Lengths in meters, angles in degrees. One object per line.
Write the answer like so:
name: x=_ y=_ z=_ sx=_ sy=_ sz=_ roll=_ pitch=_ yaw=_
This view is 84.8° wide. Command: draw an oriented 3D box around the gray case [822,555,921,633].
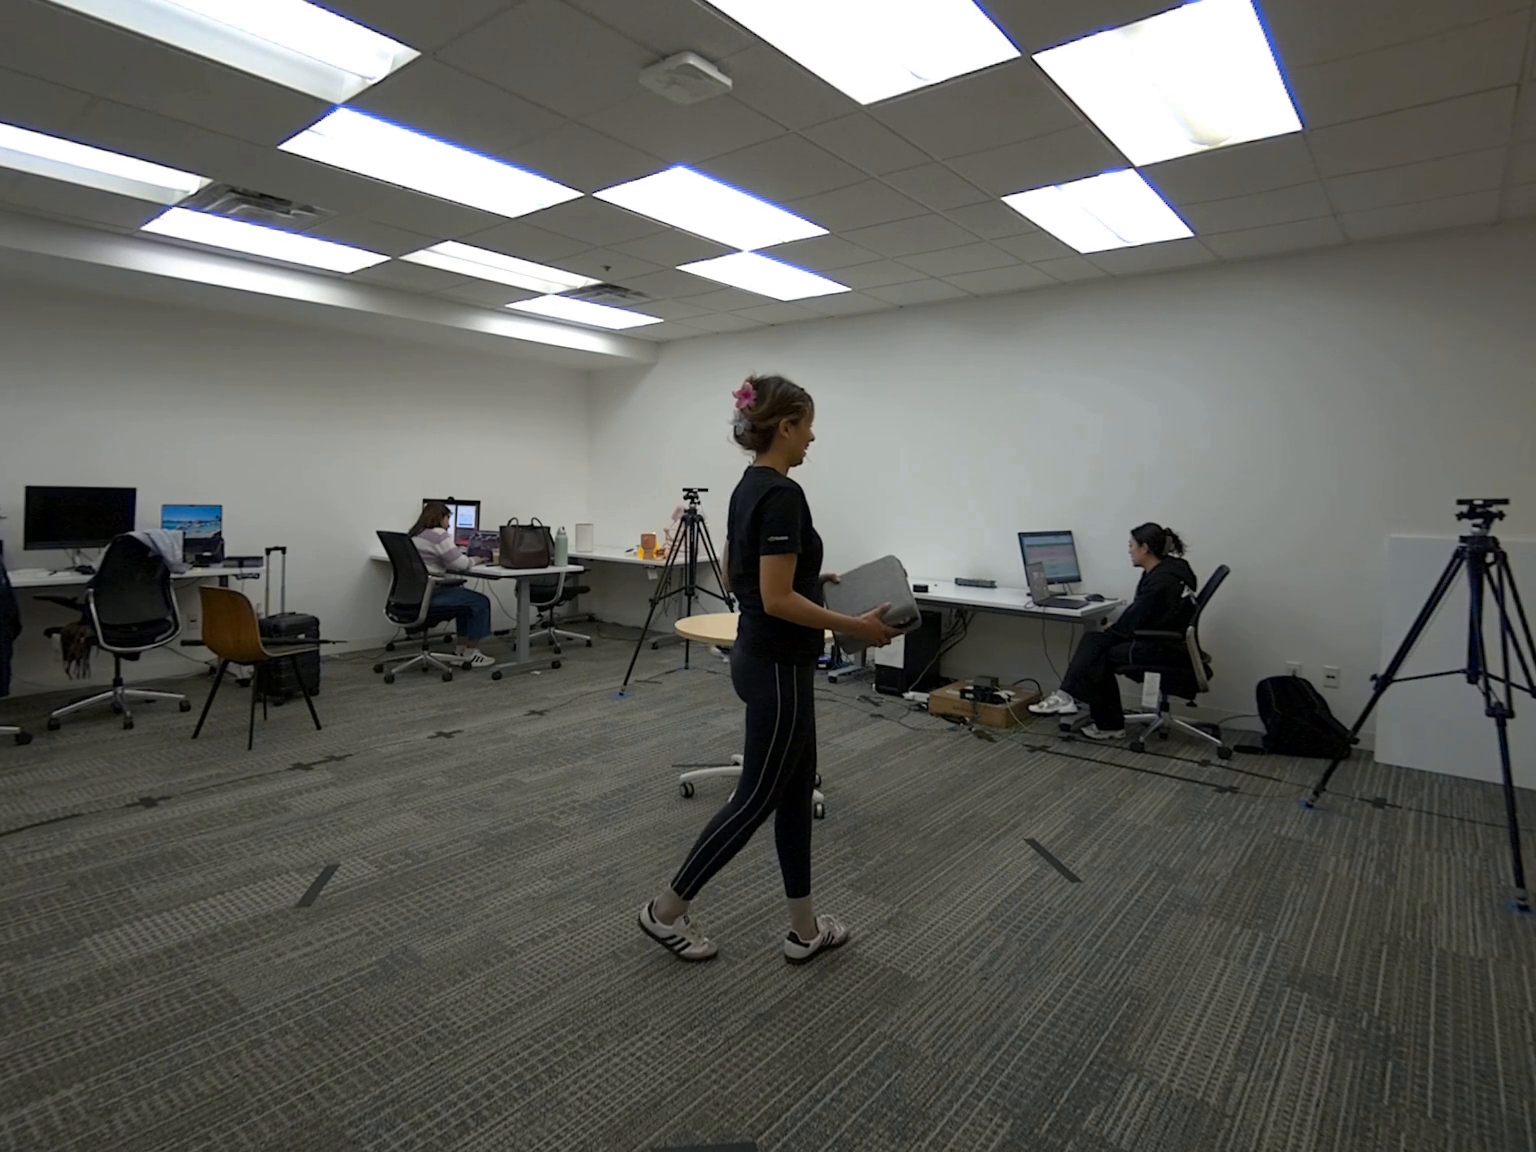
gray case: x=0.294 y=0.078 z=2.537 sx=0.259 sy=0.100 sz=0.269 roll=-24 pitch=41 yaw=14
